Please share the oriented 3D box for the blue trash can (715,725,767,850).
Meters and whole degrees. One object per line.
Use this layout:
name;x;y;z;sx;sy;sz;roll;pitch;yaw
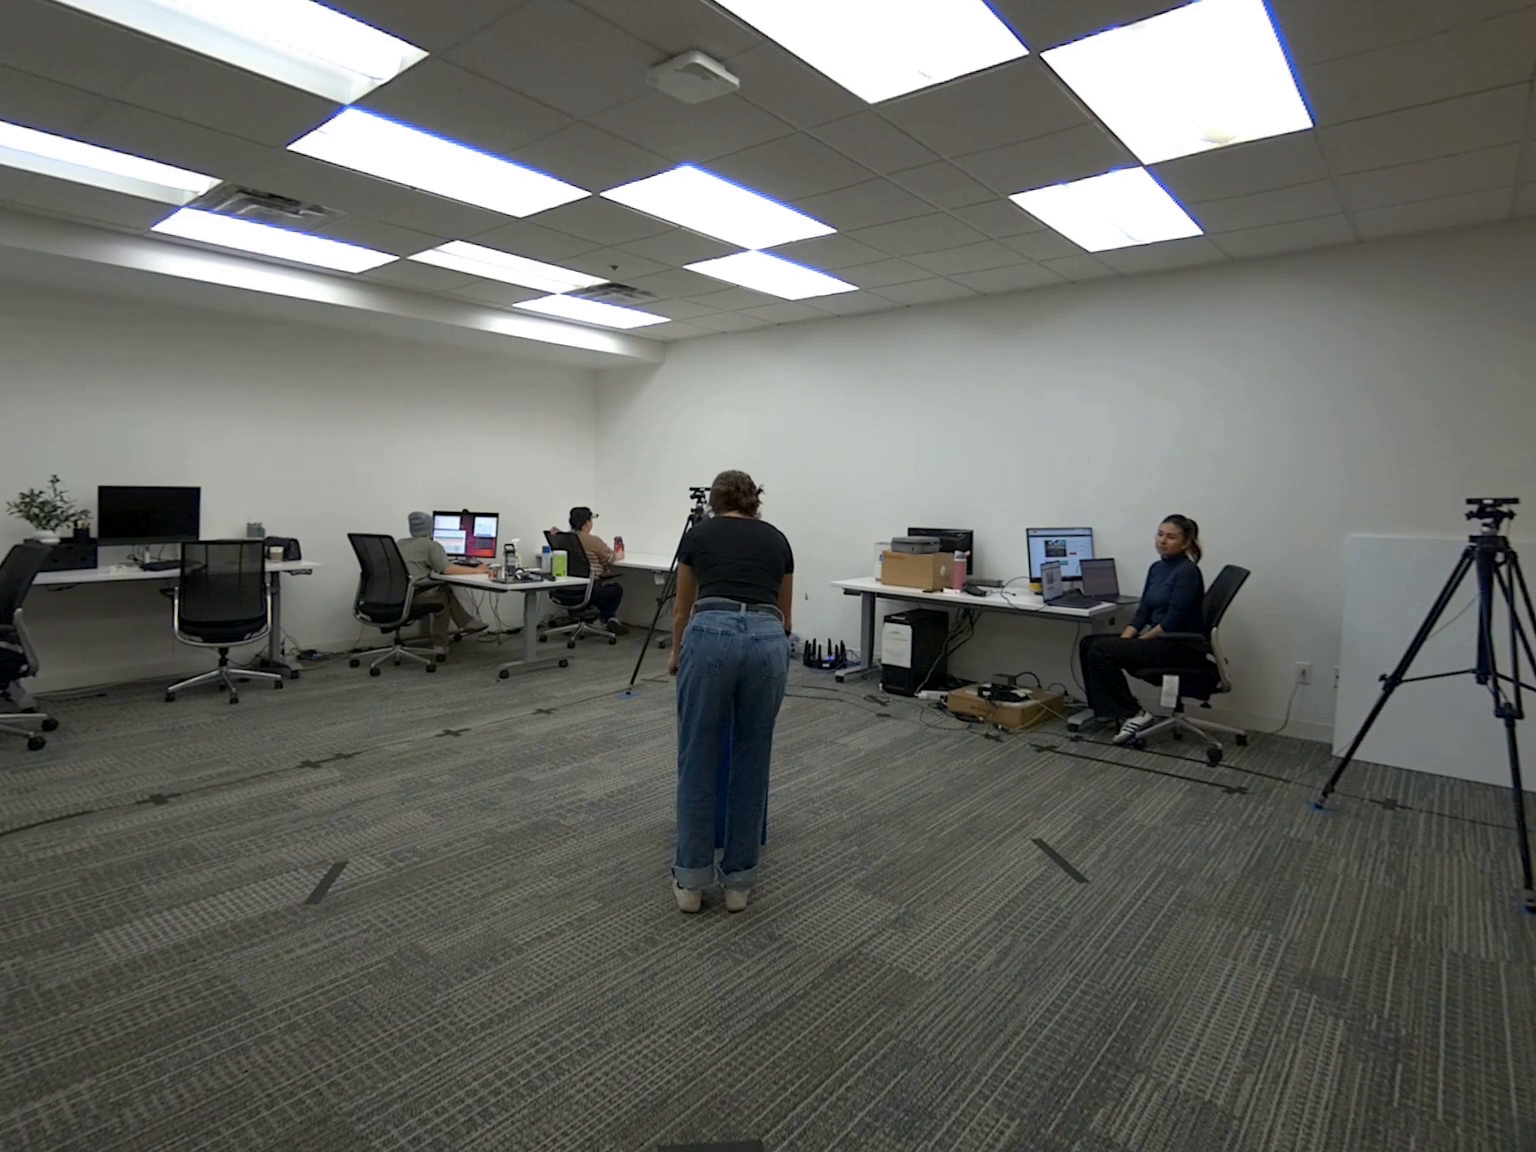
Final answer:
blue trash can;-0.194;0.676;3.418;0.369;0.712;0.384;1;2;-14
